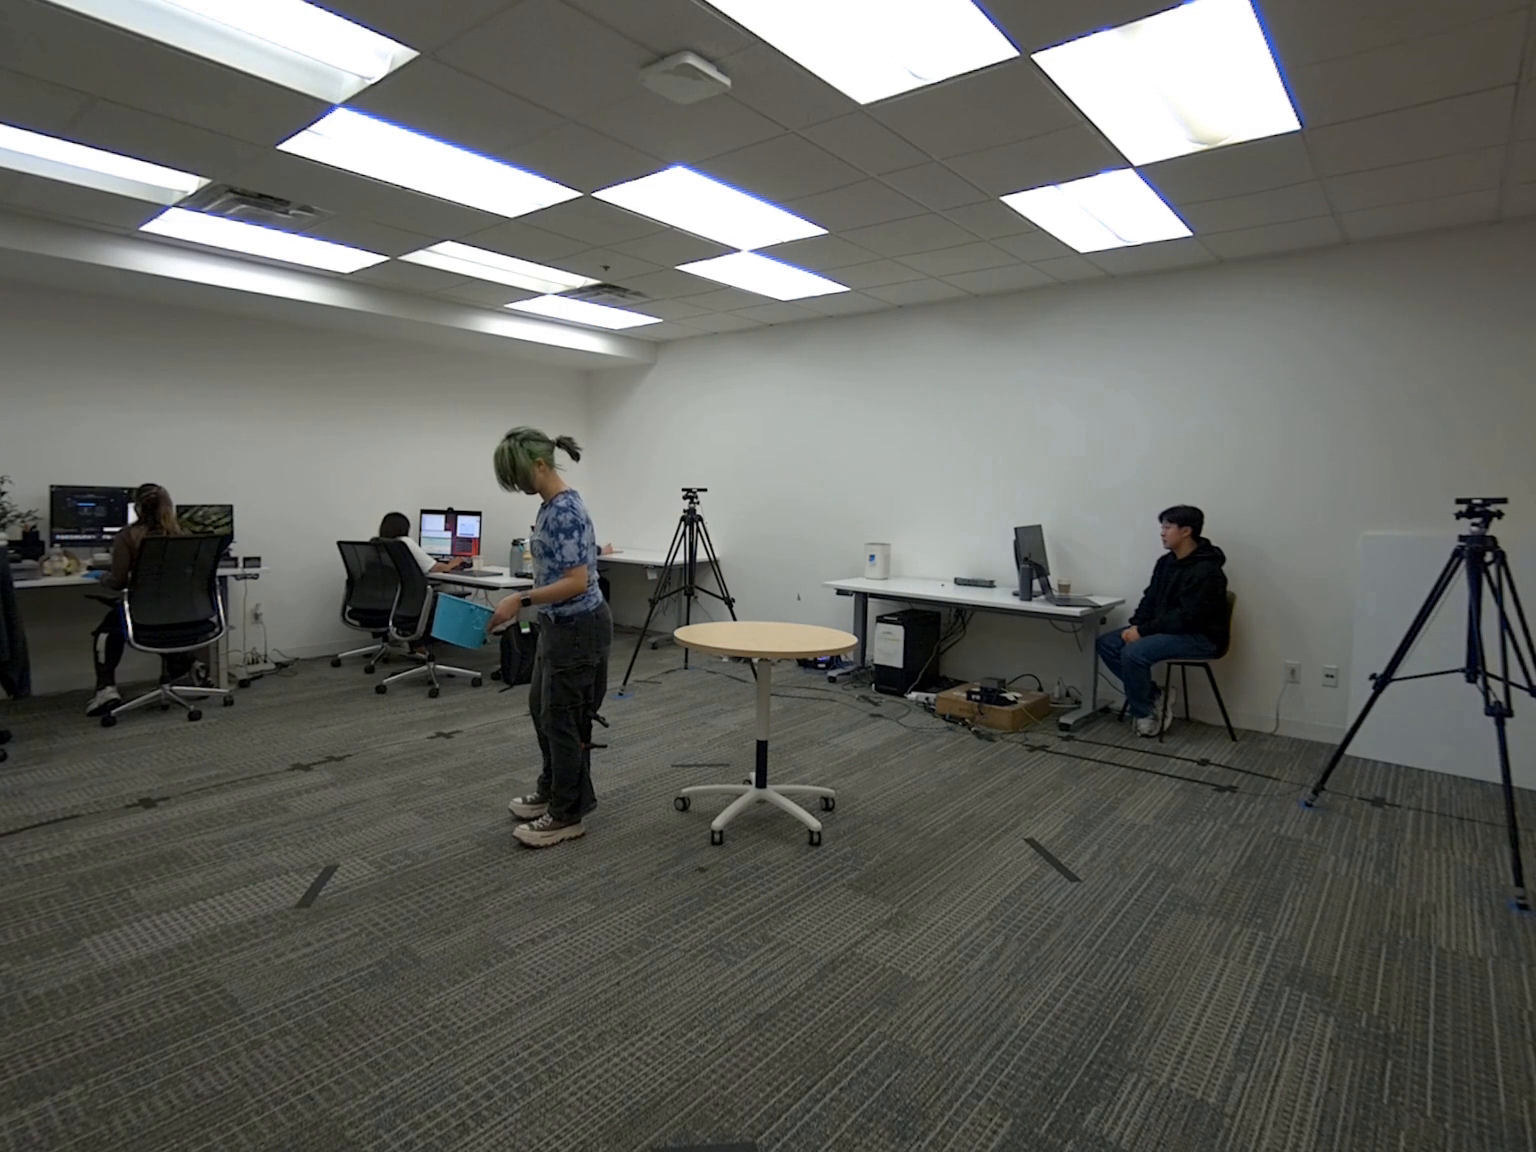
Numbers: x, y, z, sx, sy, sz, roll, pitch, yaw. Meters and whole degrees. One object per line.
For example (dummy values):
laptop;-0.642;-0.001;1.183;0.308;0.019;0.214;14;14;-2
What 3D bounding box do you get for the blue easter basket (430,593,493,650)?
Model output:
blue easter basket;-1.111;0.165;3.102;0.244;0.156;0.243;16;-5;0
